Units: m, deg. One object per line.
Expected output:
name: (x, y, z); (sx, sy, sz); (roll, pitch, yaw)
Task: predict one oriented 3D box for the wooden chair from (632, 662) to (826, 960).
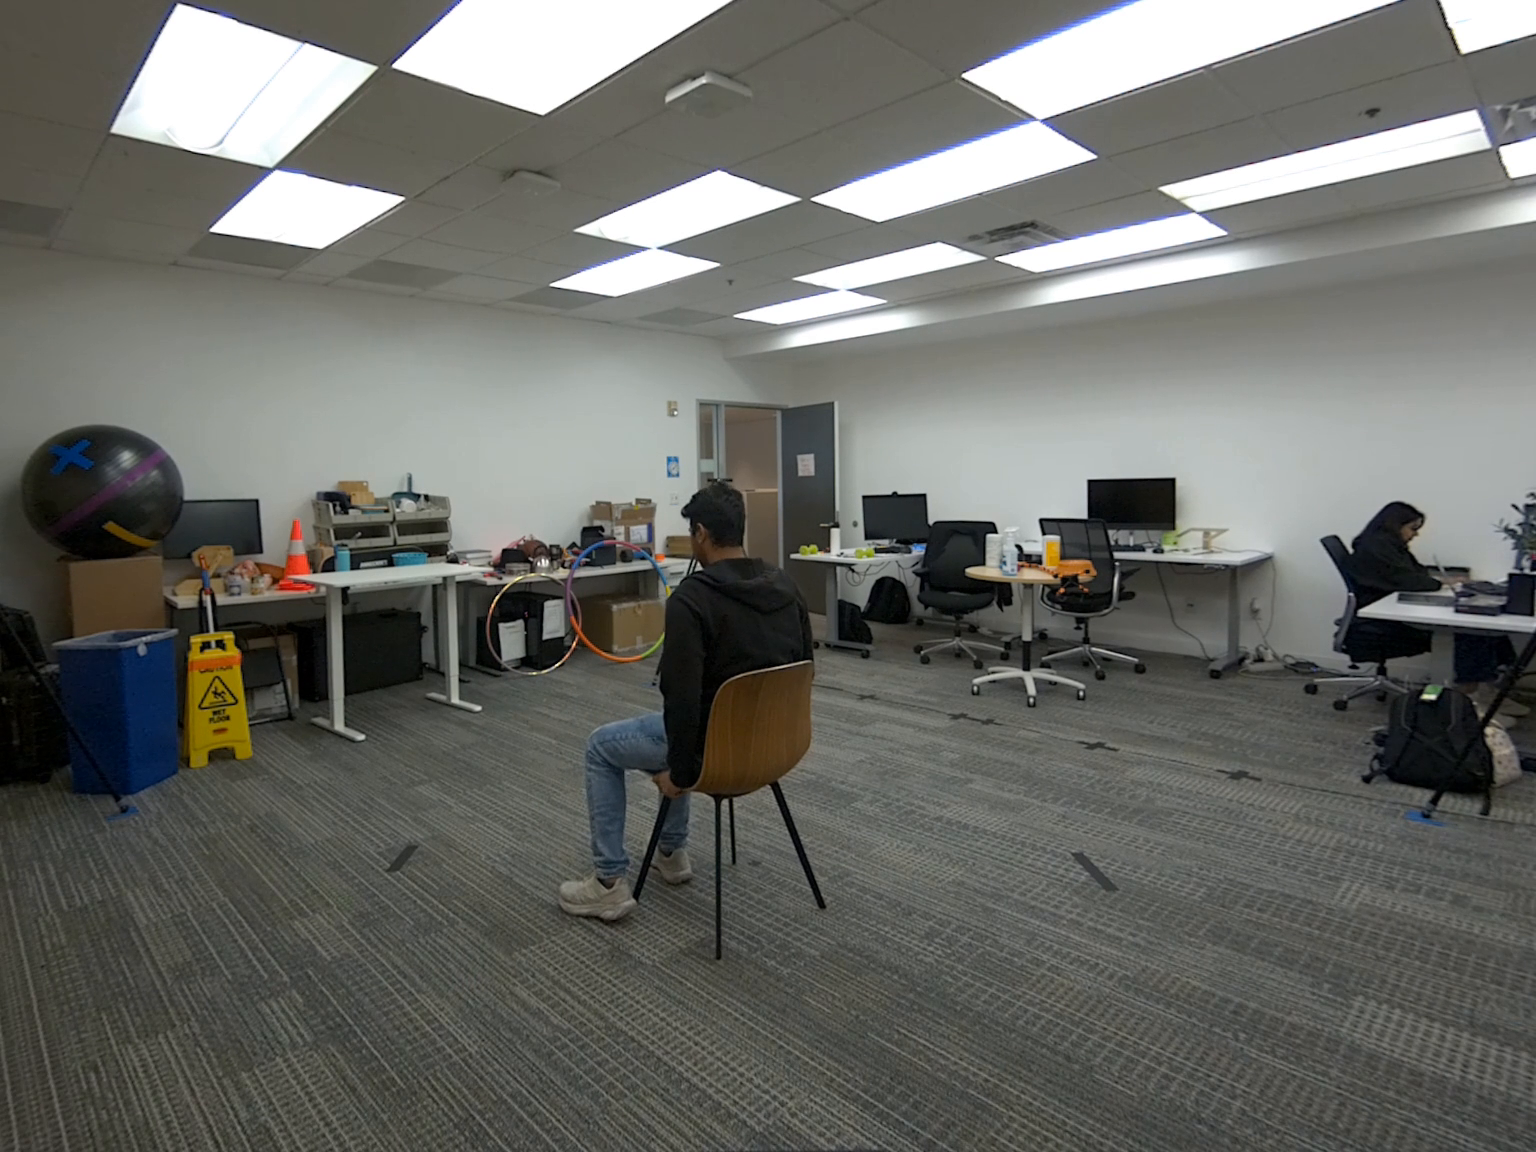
wooden chair: (-0.140, 0.656, 2.778); (0.465, 0.871, 0.540); (-5, 10, -41)
